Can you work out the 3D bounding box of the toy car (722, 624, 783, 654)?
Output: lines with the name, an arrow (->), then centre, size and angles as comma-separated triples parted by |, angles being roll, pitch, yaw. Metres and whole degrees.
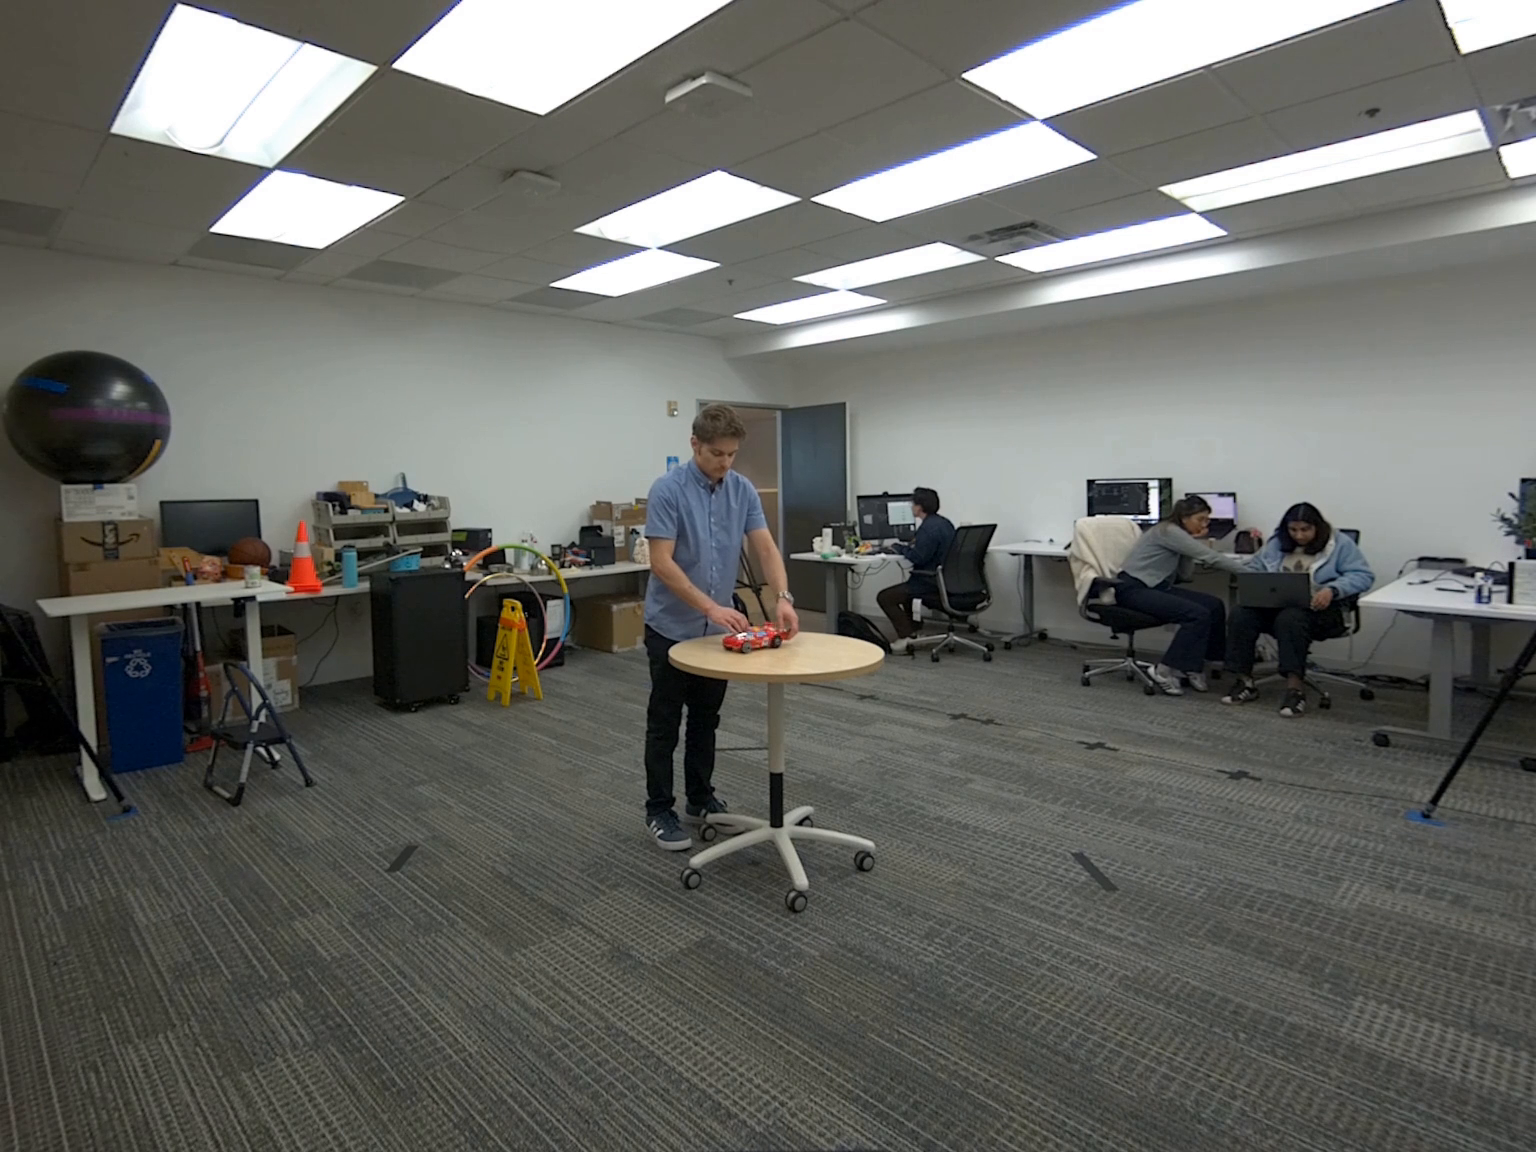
toy car -> -0.039, 0.230, 3.096 | 0.250, 0.082, 0.134 | -18, 16, -37
